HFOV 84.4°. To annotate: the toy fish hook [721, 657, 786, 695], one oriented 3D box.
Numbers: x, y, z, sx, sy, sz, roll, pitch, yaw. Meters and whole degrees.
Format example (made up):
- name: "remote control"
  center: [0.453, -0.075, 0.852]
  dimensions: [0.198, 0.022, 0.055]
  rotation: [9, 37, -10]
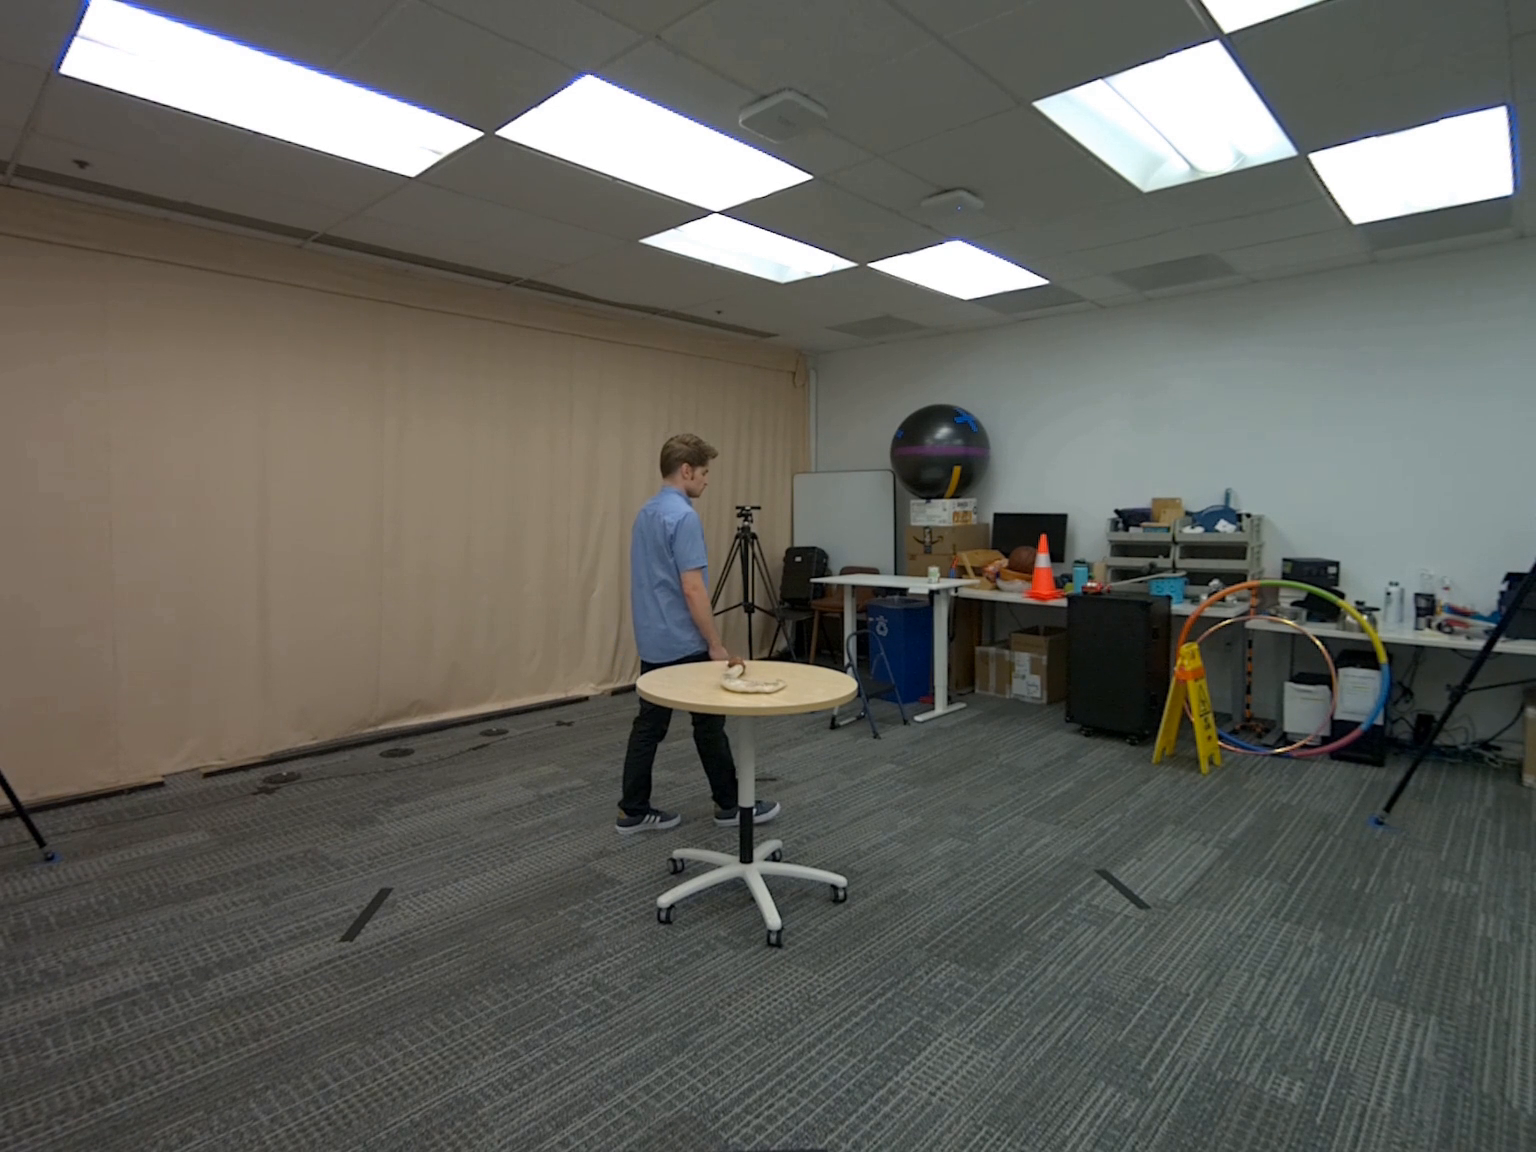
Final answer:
- name: "toy fish hook"
  center: [-0.053, 0.350, 2.971]
  dimensions: [0.224, 0.048, 0.509]
  rotation: [7, 6, -3]
